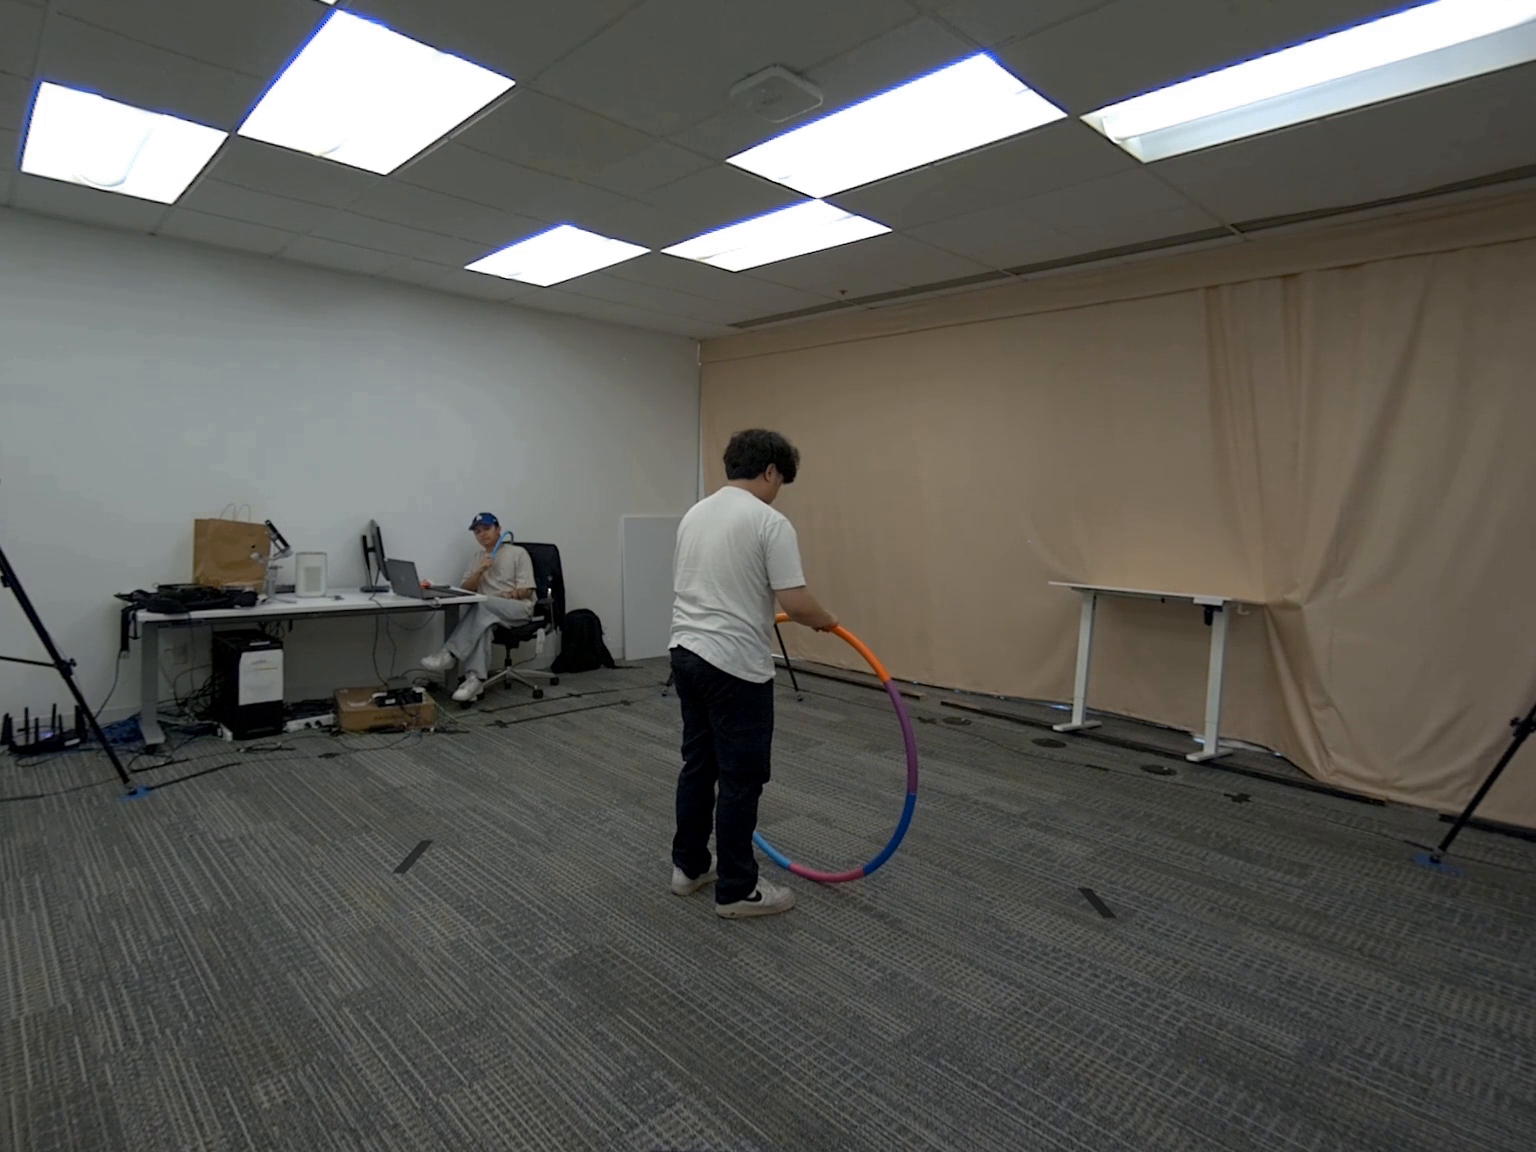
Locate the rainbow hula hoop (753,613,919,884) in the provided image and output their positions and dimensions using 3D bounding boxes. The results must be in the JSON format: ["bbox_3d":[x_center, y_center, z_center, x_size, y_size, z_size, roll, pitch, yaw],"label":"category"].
[{"bbox_3d":[0.121,0.626,3.106,0.050,0.982,1.011,-2,6,-45],"label":"rainbow hula hoop"}]
